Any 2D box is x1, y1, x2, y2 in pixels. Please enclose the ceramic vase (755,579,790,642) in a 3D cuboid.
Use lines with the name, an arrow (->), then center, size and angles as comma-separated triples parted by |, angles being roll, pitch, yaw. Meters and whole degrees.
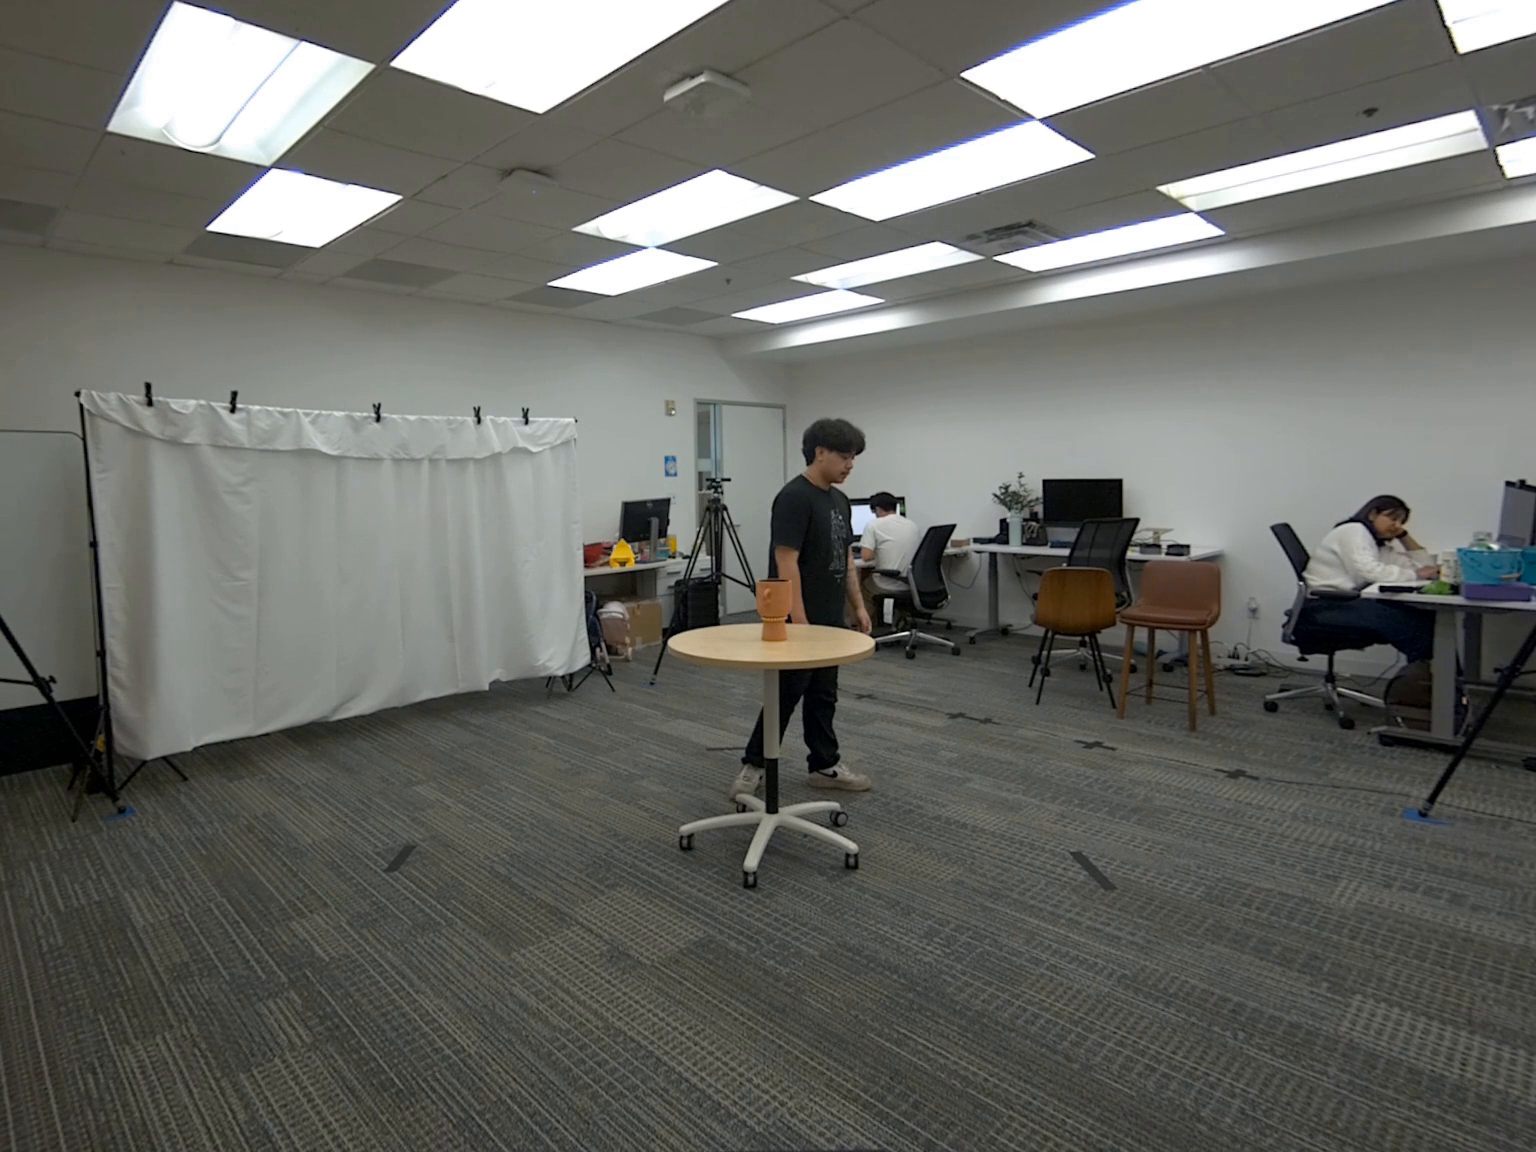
ceramic vase -> 0.026, 0.130, 3.192 | 0.155, 0.219, 0.138 | -3, 4, -28
